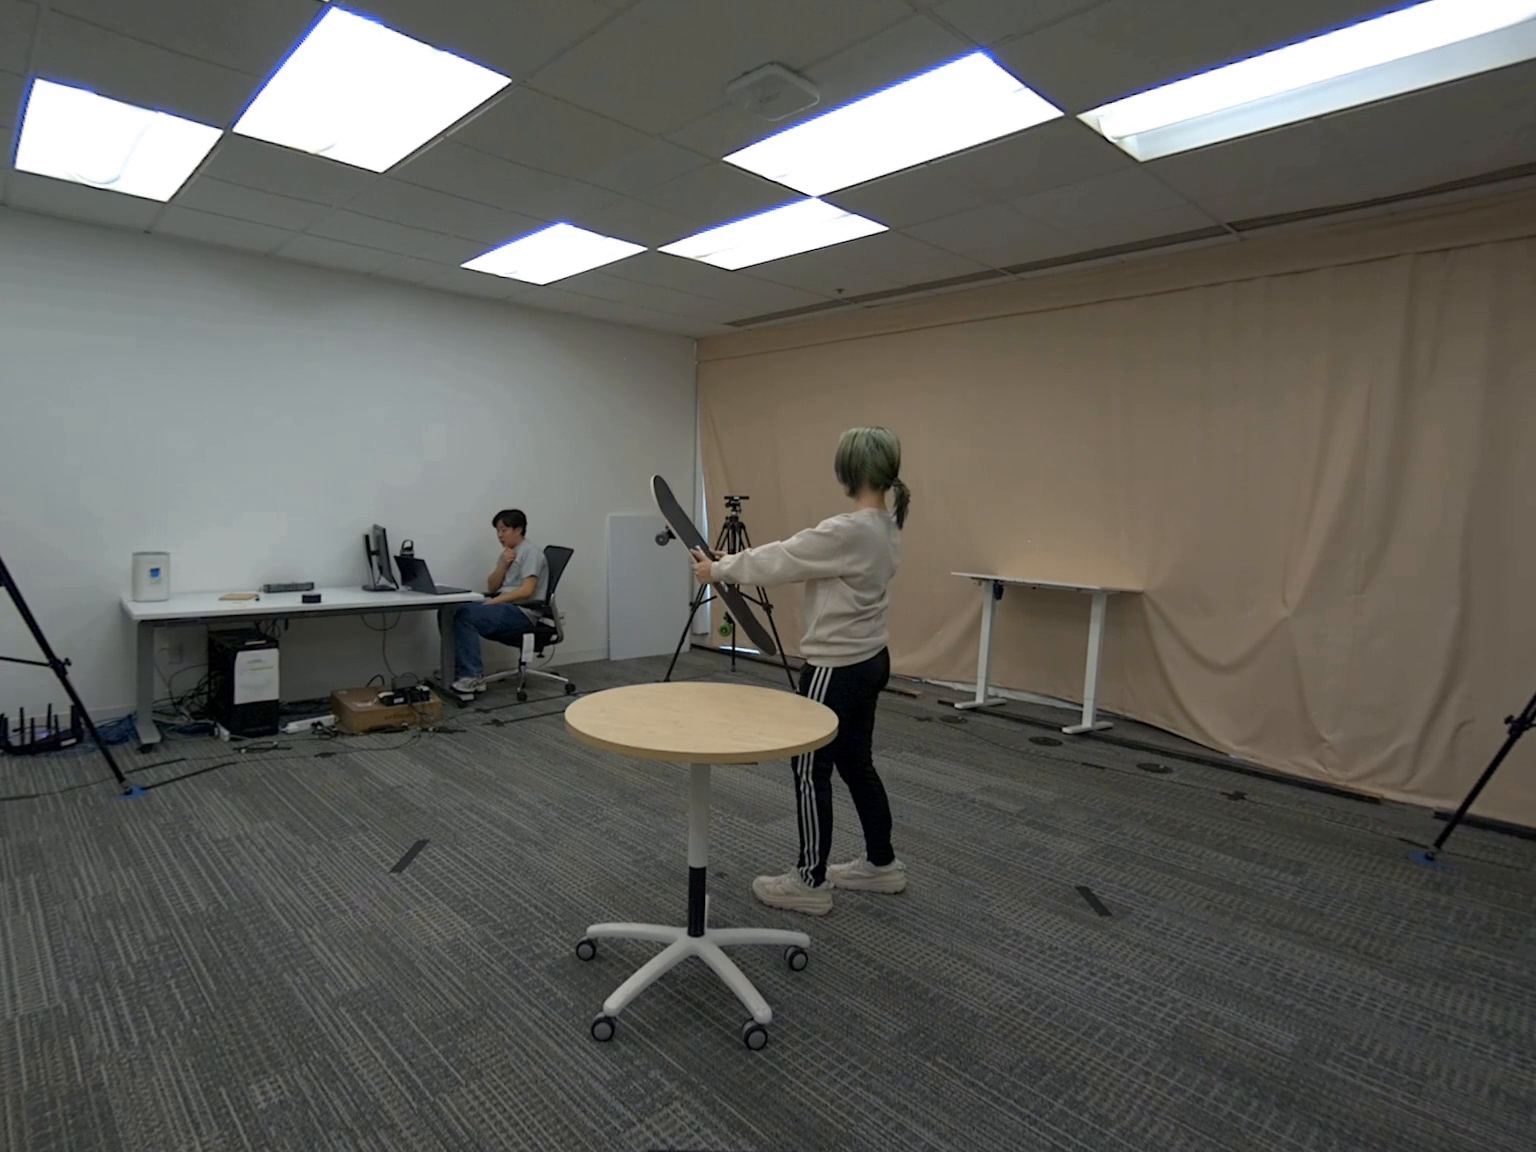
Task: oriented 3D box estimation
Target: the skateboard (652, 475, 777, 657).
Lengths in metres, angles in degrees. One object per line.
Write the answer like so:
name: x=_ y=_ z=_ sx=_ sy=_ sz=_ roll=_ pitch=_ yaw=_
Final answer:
skateboard: x=-0.232 y=-0.006 z=3.055 sx=0.111 sy=0.779 sz=0.194 roll=-31 pitch=8 yaw=18
